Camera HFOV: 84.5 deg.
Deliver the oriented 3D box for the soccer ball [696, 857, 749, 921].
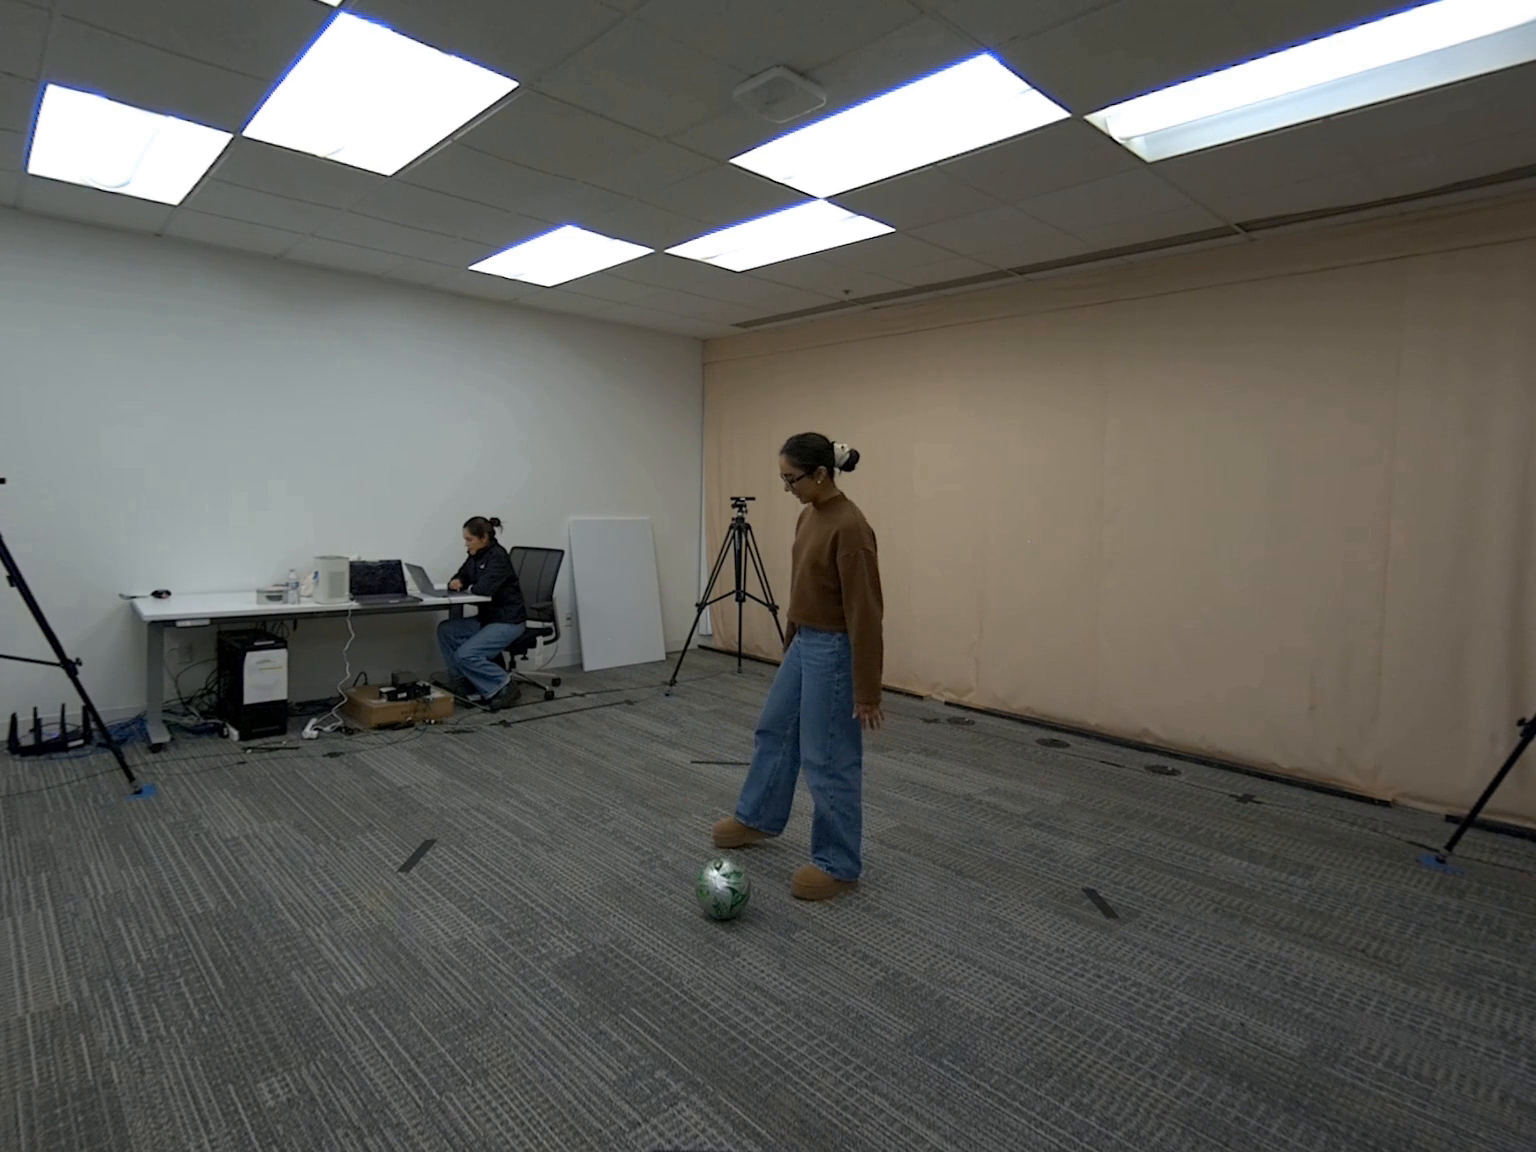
[{"bbox_3d":[-0.154,1.042,2.799,0.187,0.187,0.188,1,4,-1],"label":"soccer ball"}]
